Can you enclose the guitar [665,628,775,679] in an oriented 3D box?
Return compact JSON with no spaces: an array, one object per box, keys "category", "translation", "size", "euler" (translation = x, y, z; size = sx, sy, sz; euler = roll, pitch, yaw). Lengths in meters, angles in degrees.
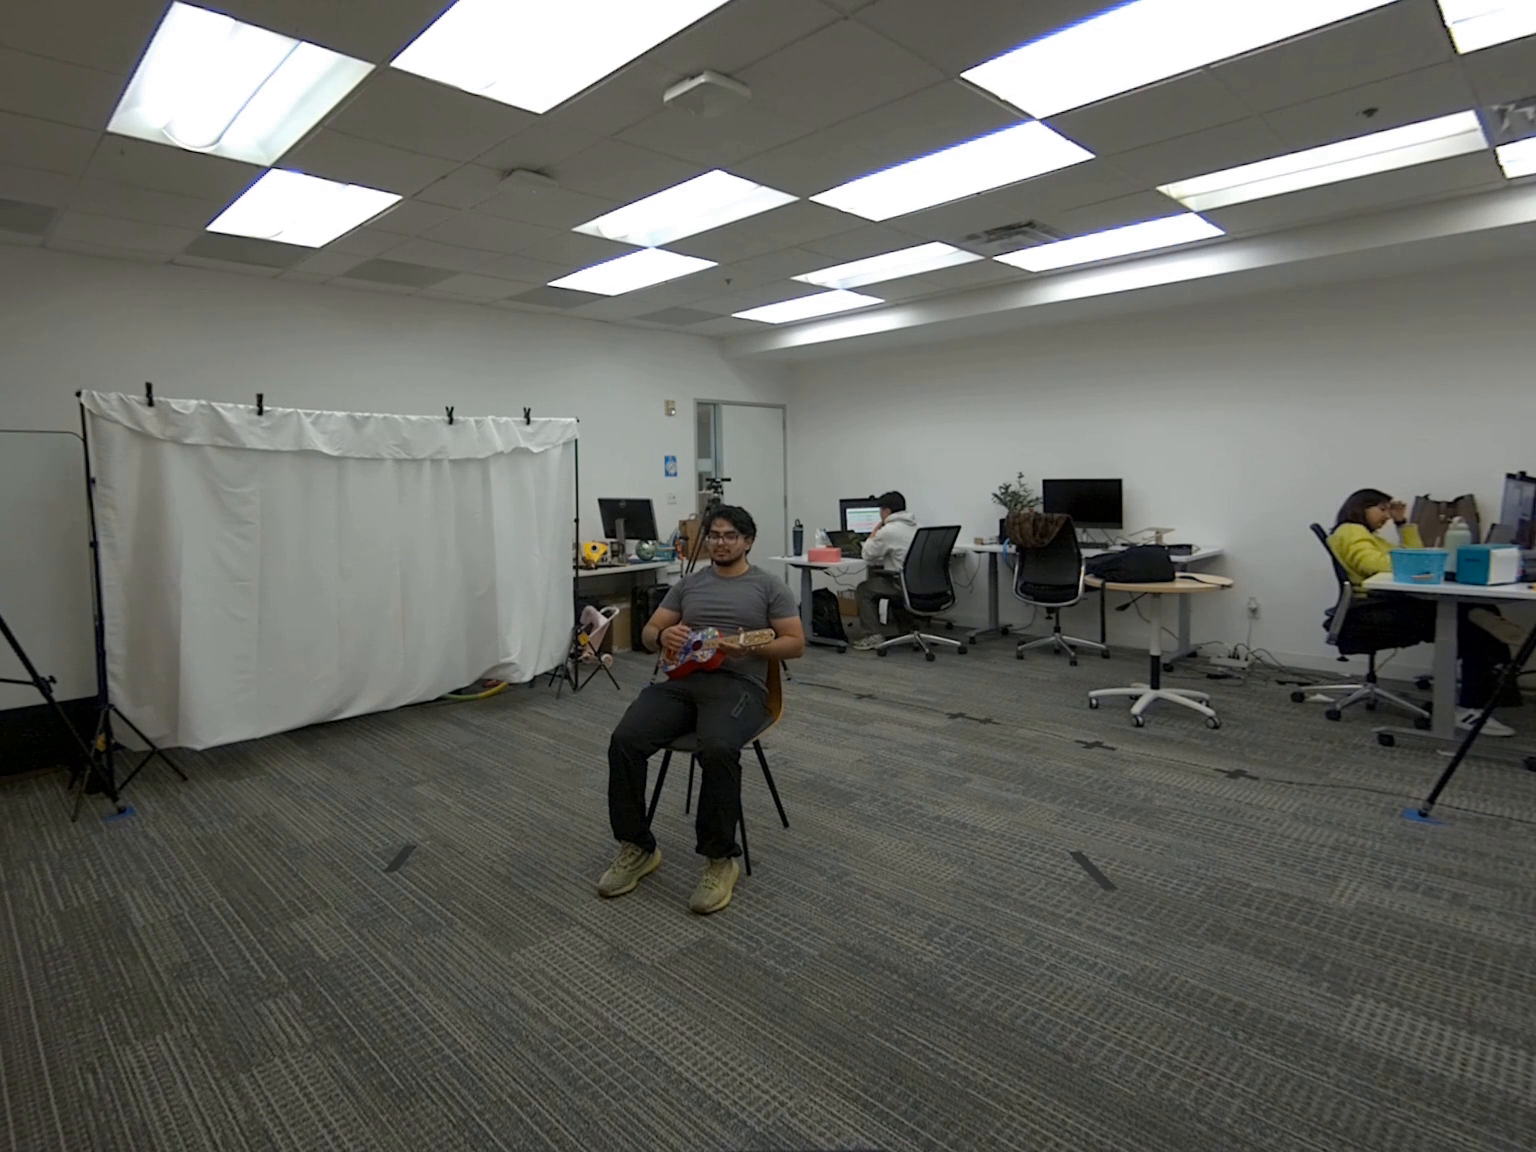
[{"category":"guitar","translation":[-0.201,0.284,3.123],"size":[0.511,0.195,0.068],"euler":[-2,-35,36]}]
